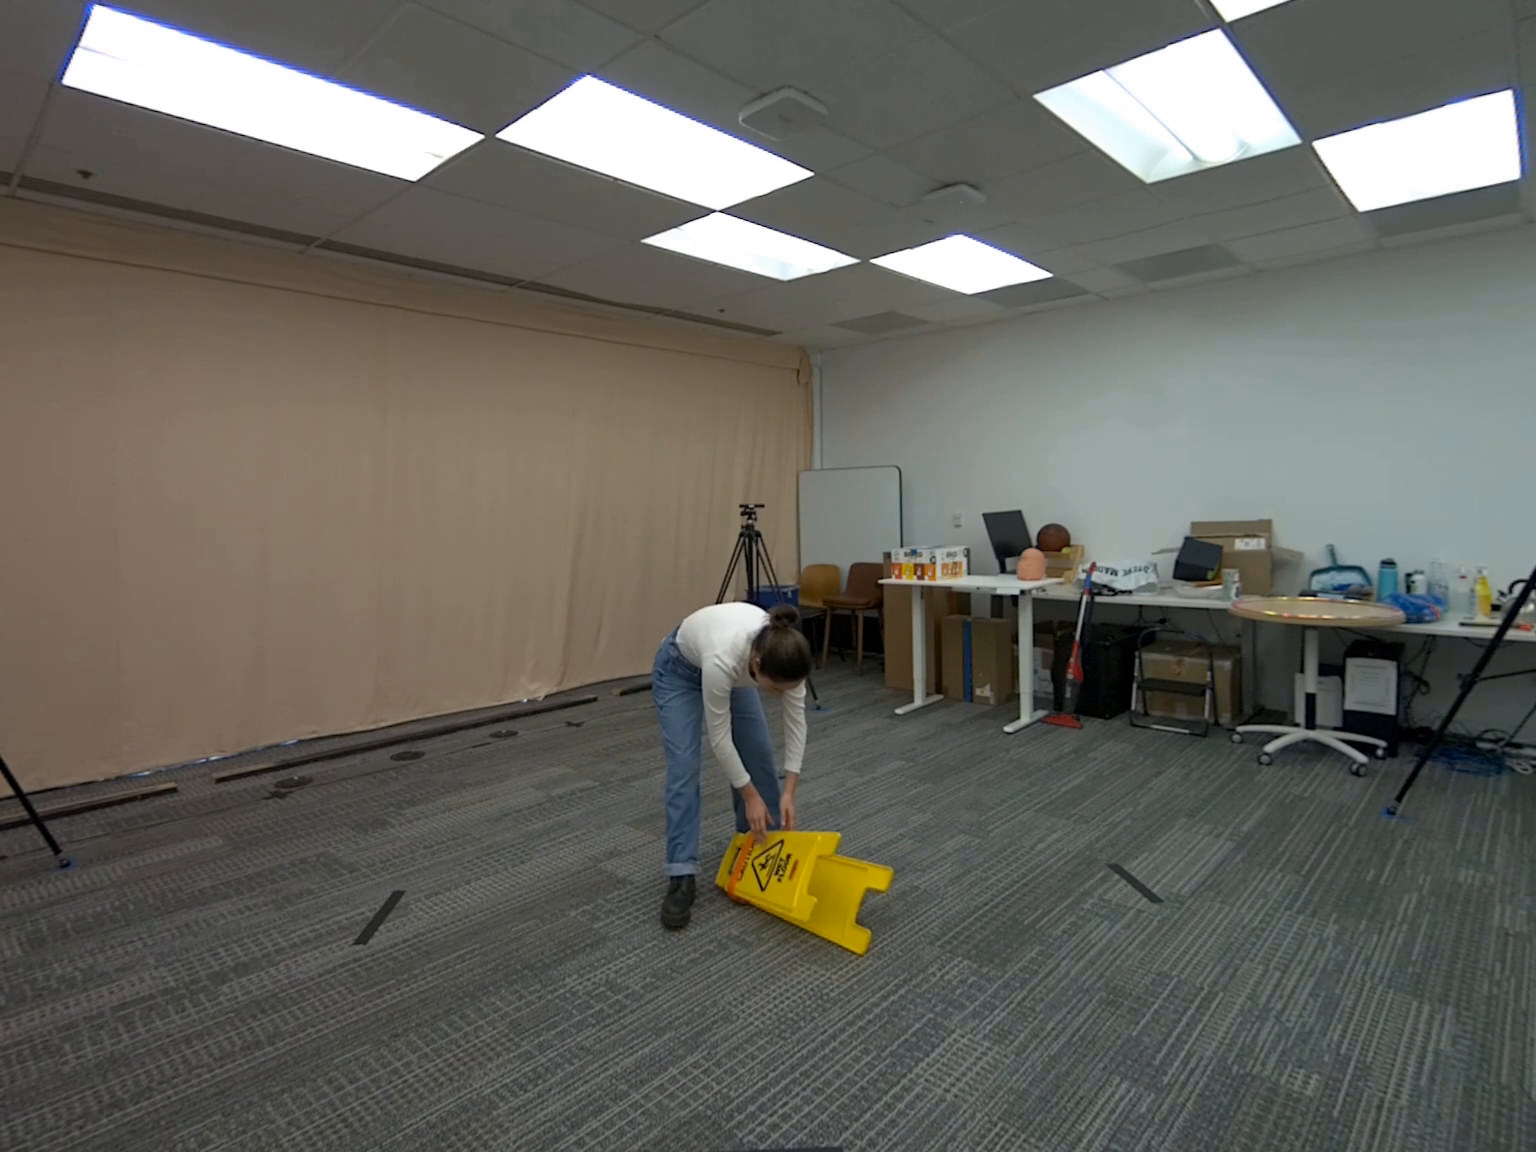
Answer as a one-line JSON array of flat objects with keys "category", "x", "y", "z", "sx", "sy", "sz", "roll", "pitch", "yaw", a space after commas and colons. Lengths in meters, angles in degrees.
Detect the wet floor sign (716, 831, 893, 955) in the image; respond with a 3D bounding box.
[{"category": "wet floor sign", "x": 0.061, "y": 1.016, "z": 2.840, "sx": 0.281, "sy": 0.282, "sz": 0.663, "roll": 41, "pitch": -29, "yaw": -27}]
